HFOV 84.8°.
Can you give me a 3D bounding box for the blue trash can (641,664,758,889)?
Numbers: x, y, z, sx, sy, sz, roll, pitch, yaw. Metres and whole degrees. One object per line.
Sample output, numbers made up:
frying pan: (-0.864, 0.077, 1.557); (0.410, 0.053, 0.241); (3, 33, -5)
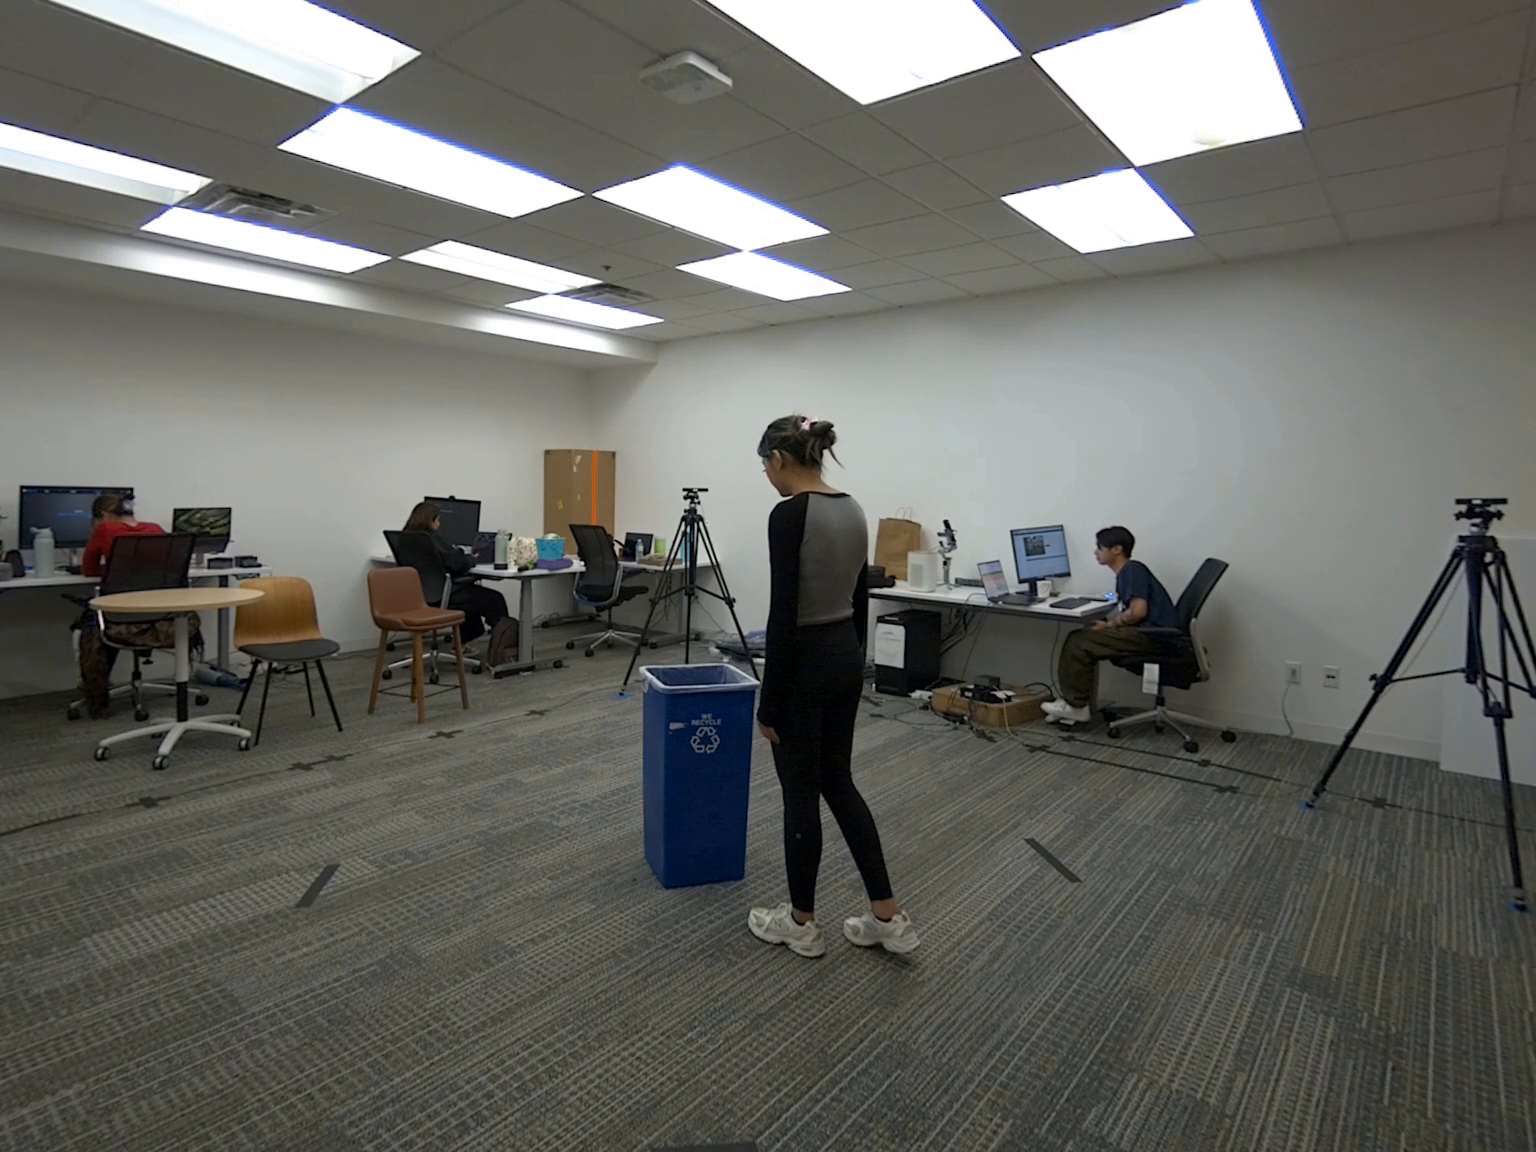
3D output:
blue trash can: (-0.269, 0.712, 3.106); (0.370, 0.712, 0.383); (0, 3, -22)
